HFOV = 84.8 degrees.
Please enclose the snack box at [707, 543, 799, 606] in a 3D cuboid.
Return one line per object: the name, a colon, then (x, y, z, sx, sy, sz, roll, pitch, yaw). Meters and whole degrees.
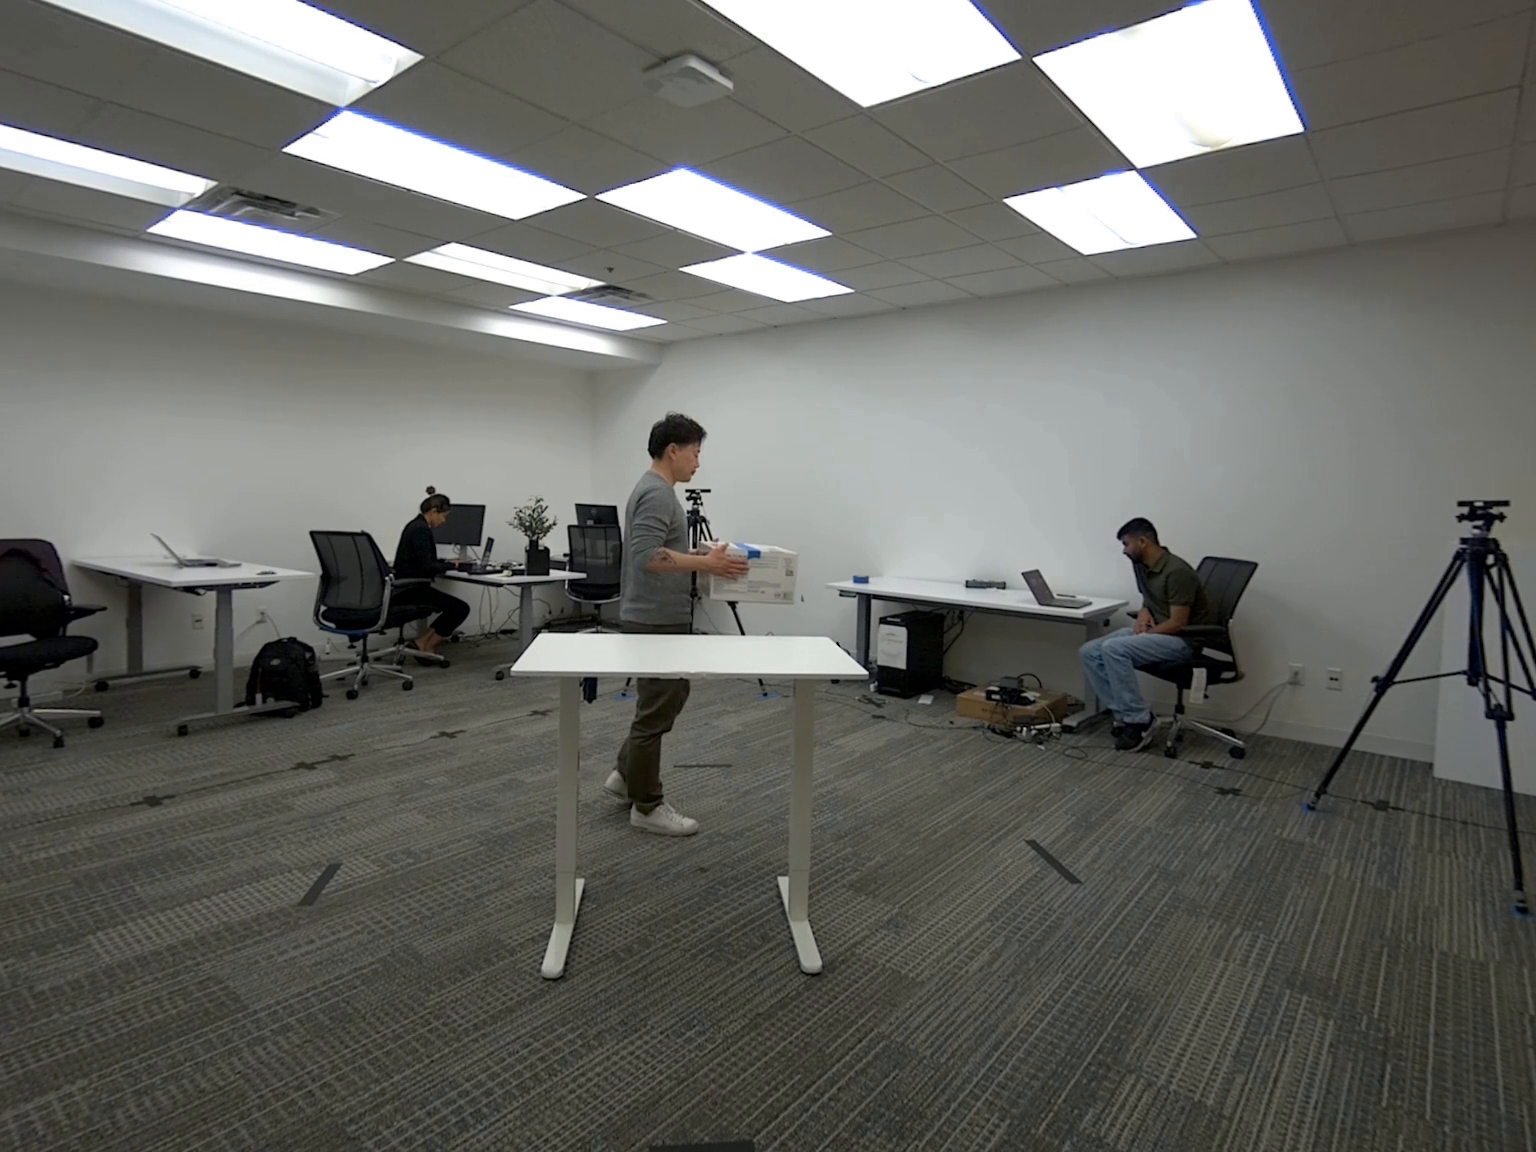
snack box: (-0.100, -0.017, 3.489, 0.337, 0.205, 0.411, 3, 5, -10)
